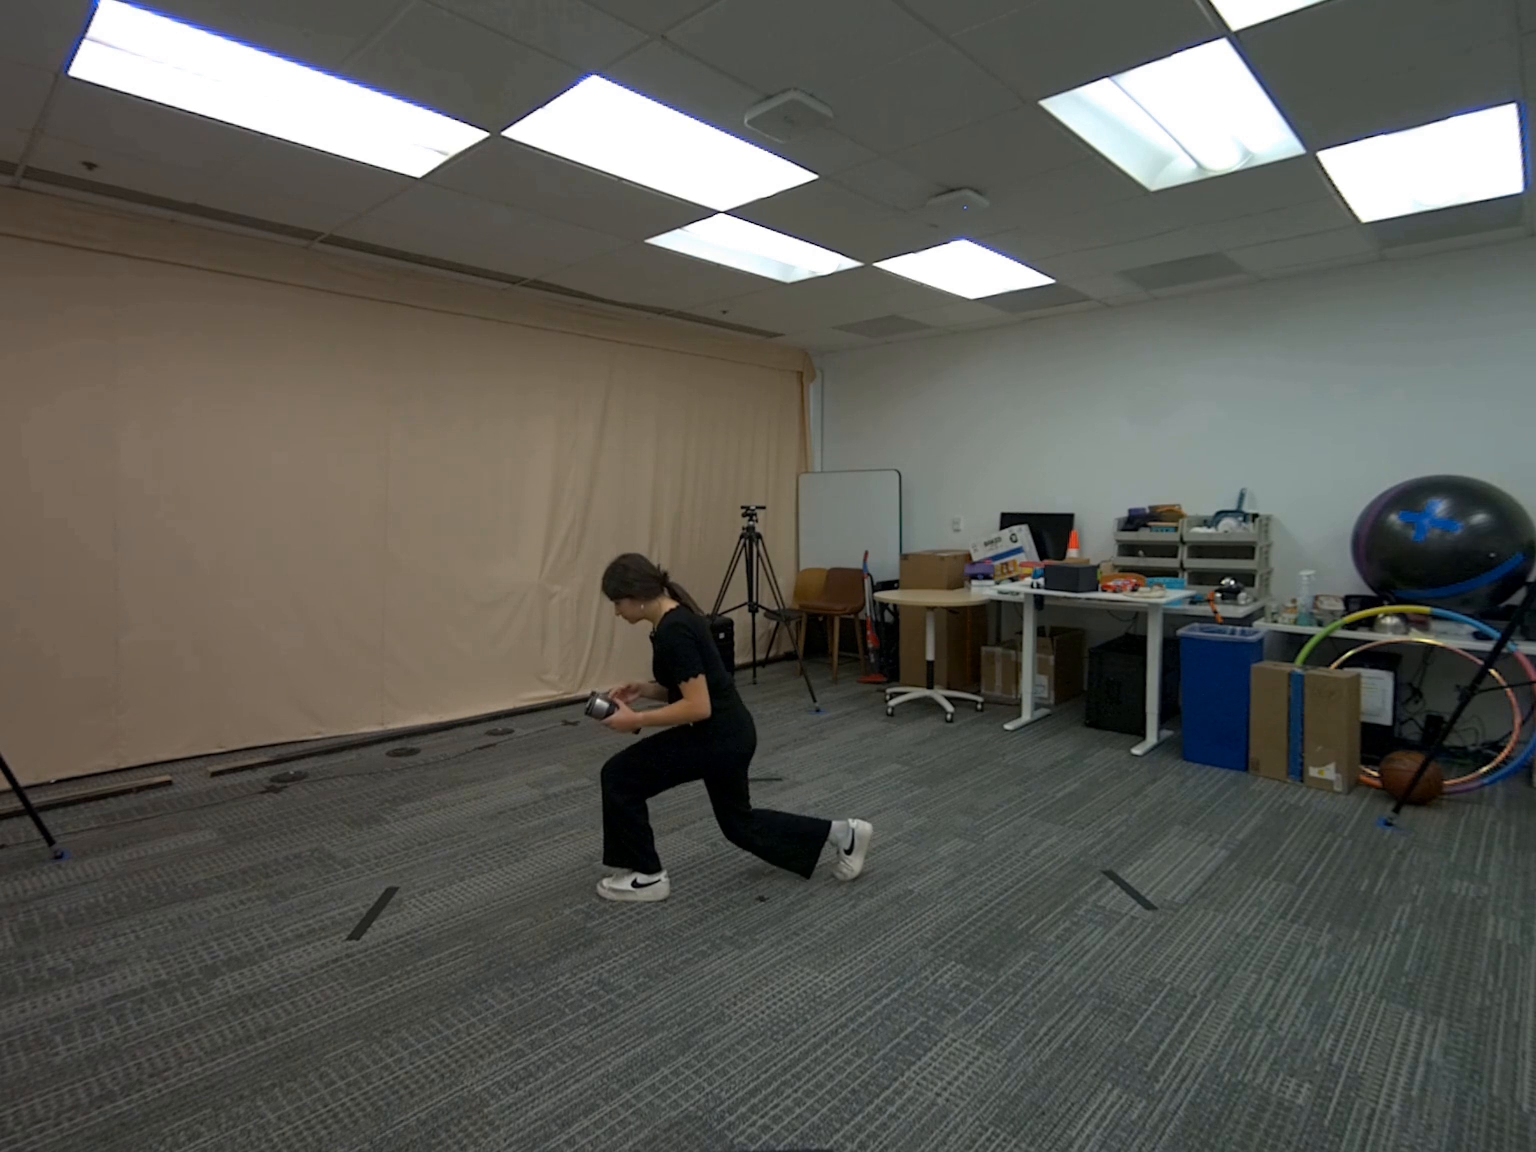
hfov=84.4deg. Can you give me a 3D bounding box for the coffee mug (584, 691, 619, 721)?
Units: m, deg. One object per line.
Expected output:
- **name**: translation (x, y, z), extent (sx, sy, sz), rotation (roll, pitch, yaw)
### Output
- **coffee mug**: translation (-0.533, 0.485, 2.898), extent (0.201, 0.089, 0.122), rotation (21, -38, -10)
